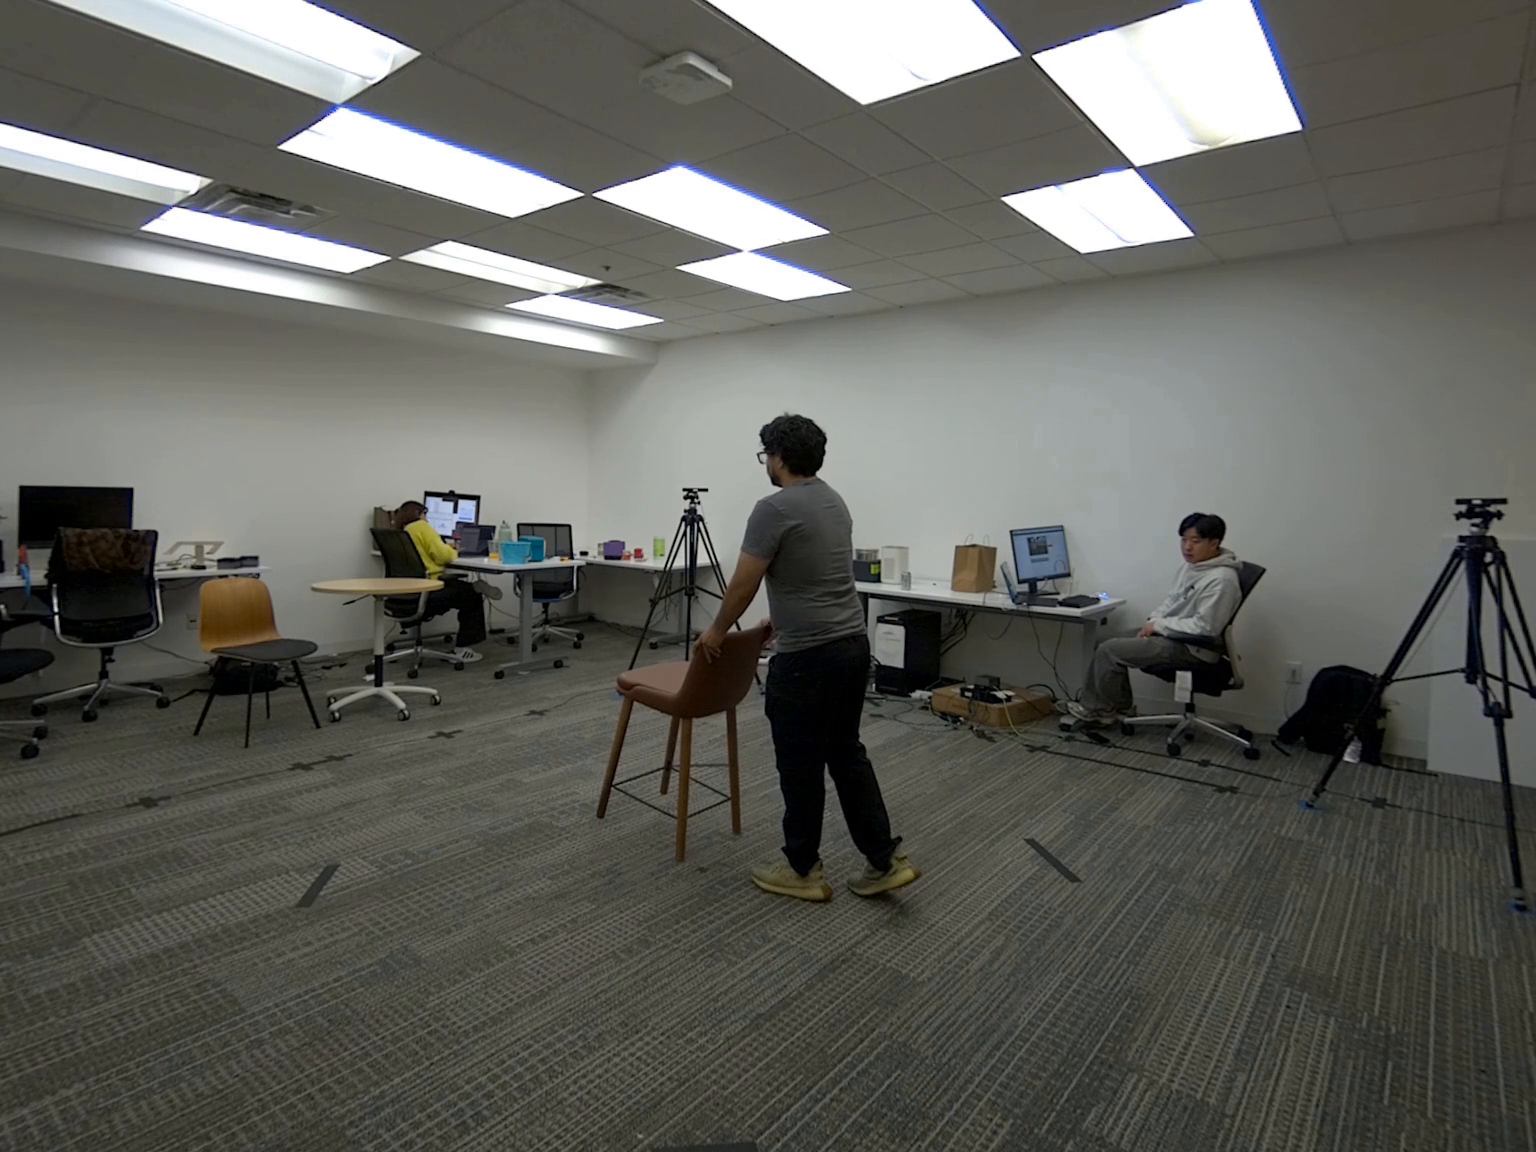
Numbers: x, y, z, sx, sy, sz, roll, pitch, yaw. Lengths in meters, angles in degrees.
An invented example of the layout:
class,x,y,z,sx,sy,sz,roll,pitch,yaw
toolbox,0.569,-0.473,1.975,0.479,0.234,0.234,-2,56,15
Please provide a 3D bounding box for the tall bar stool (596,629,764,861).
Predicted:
class,x,y,z,sx,sy,sz,roll,pitch,yaw
tall bar stool,-0.346,0.580,3.388,0.485,0.884,0.443,15,10,36
